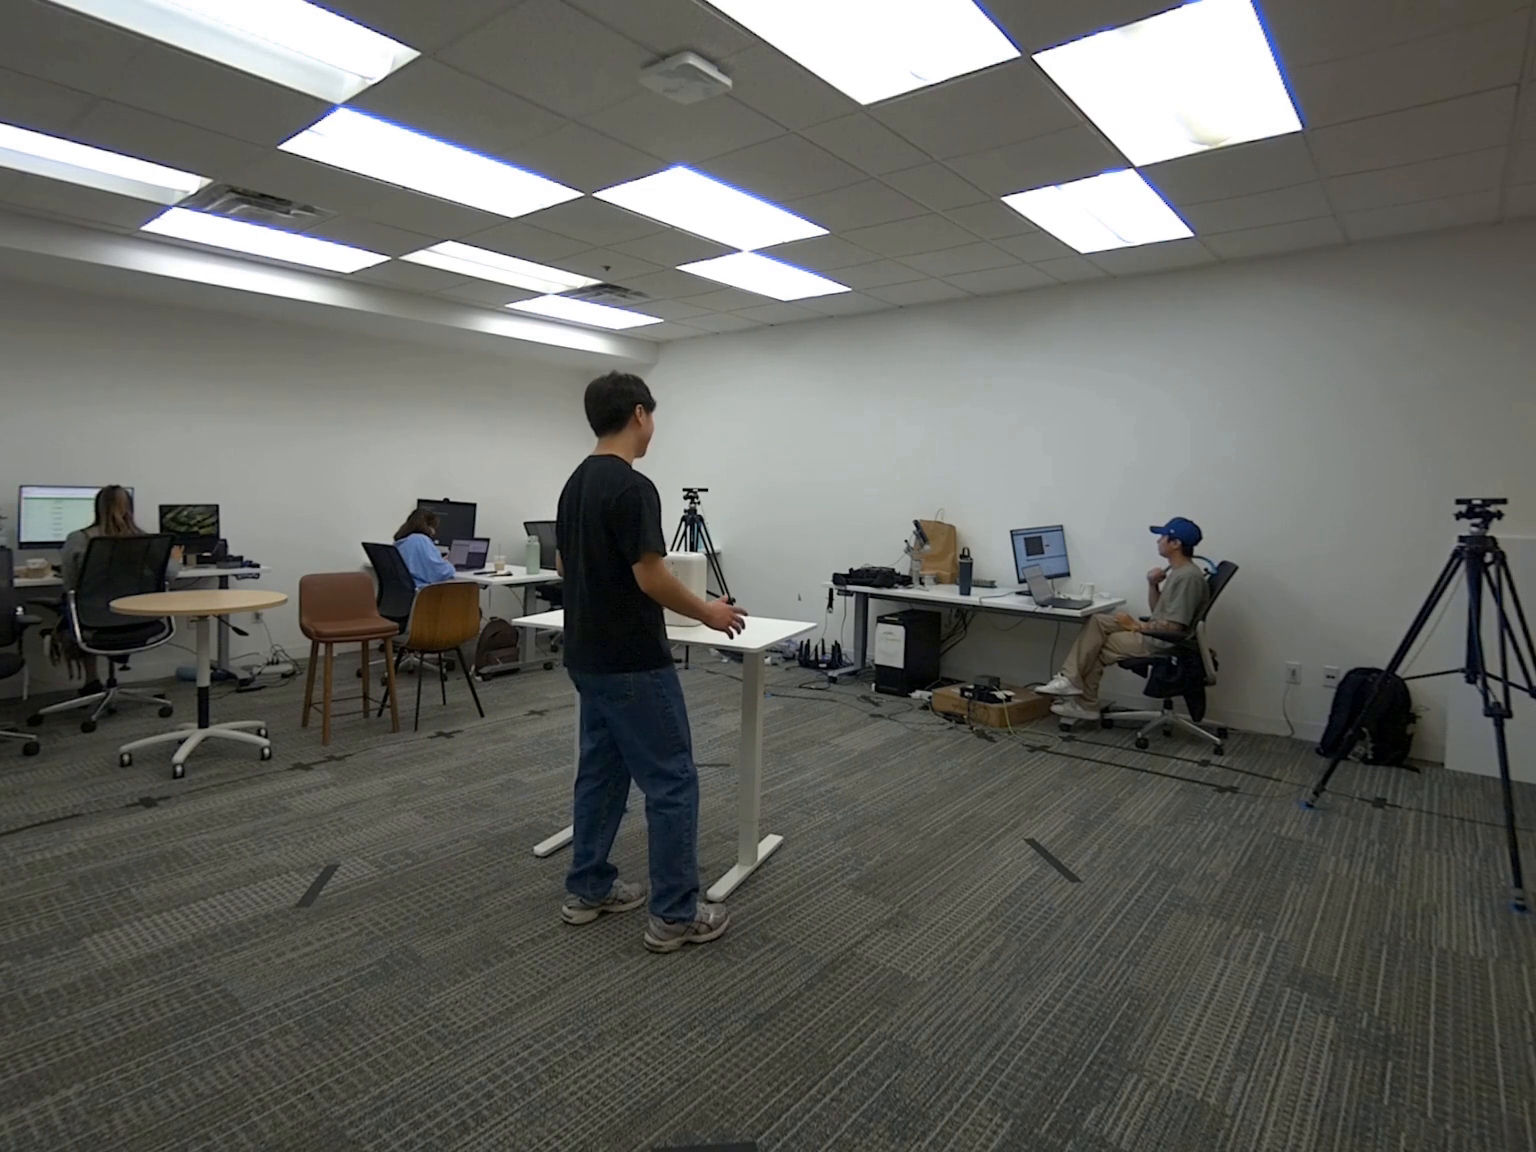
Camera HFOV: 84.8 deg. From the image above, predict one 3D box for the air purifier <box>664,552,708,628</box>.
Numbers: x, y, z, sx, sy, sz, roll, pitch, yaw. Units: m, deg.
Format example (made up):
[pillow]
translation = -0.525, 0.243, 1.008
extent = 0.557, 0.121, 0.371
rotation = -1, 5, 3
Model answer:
[air purifier]
translation = -0.330, 0.042, 3.199
extent = 0.175, 0.264, 0.168
rotation = 2, 4, 20
